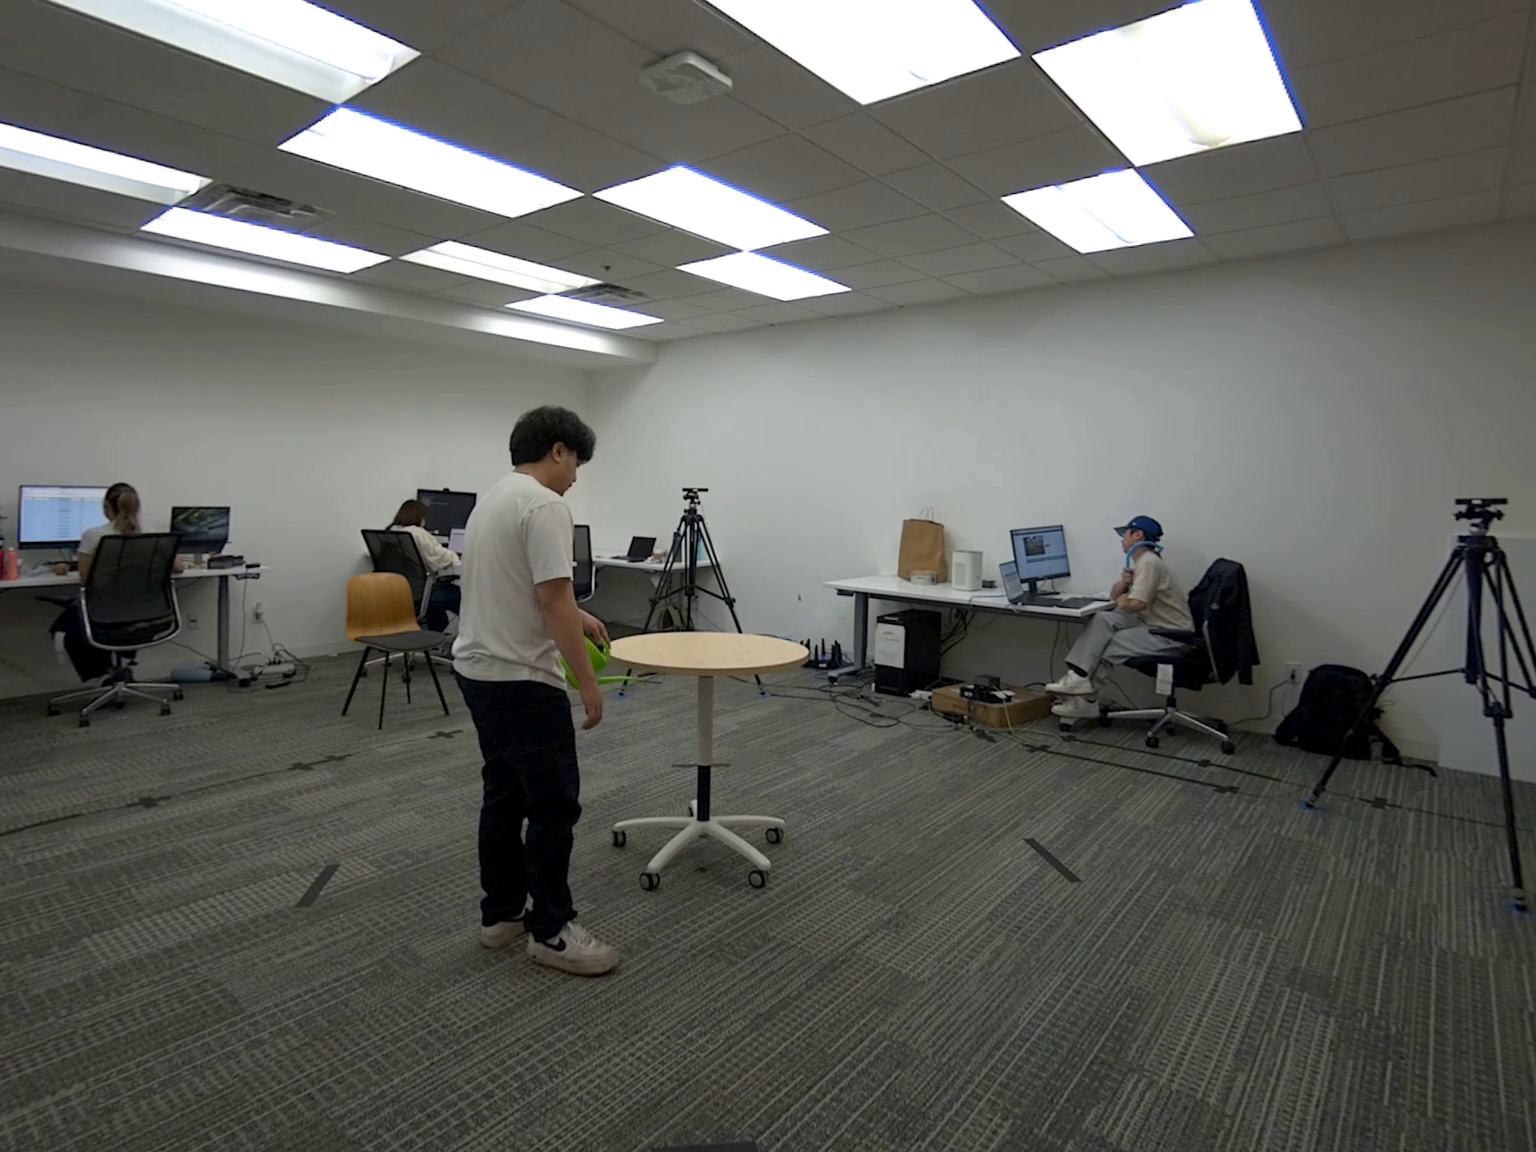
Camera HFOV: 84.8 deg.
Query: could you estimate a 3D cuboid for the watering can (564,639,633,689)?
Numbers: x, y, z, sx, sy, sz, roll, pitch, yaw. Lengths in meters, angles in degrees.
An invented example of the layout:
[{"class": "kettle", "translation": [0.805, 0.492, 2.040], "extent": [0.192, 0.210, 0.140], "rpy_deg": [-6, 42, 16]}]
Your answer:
[{"class": "watering can", "translation": [-0.590, 0.308, 2.830], "extent": [0.176, 0.281, 0.097], "rpy_deg": [-39, -6, -11]}]
